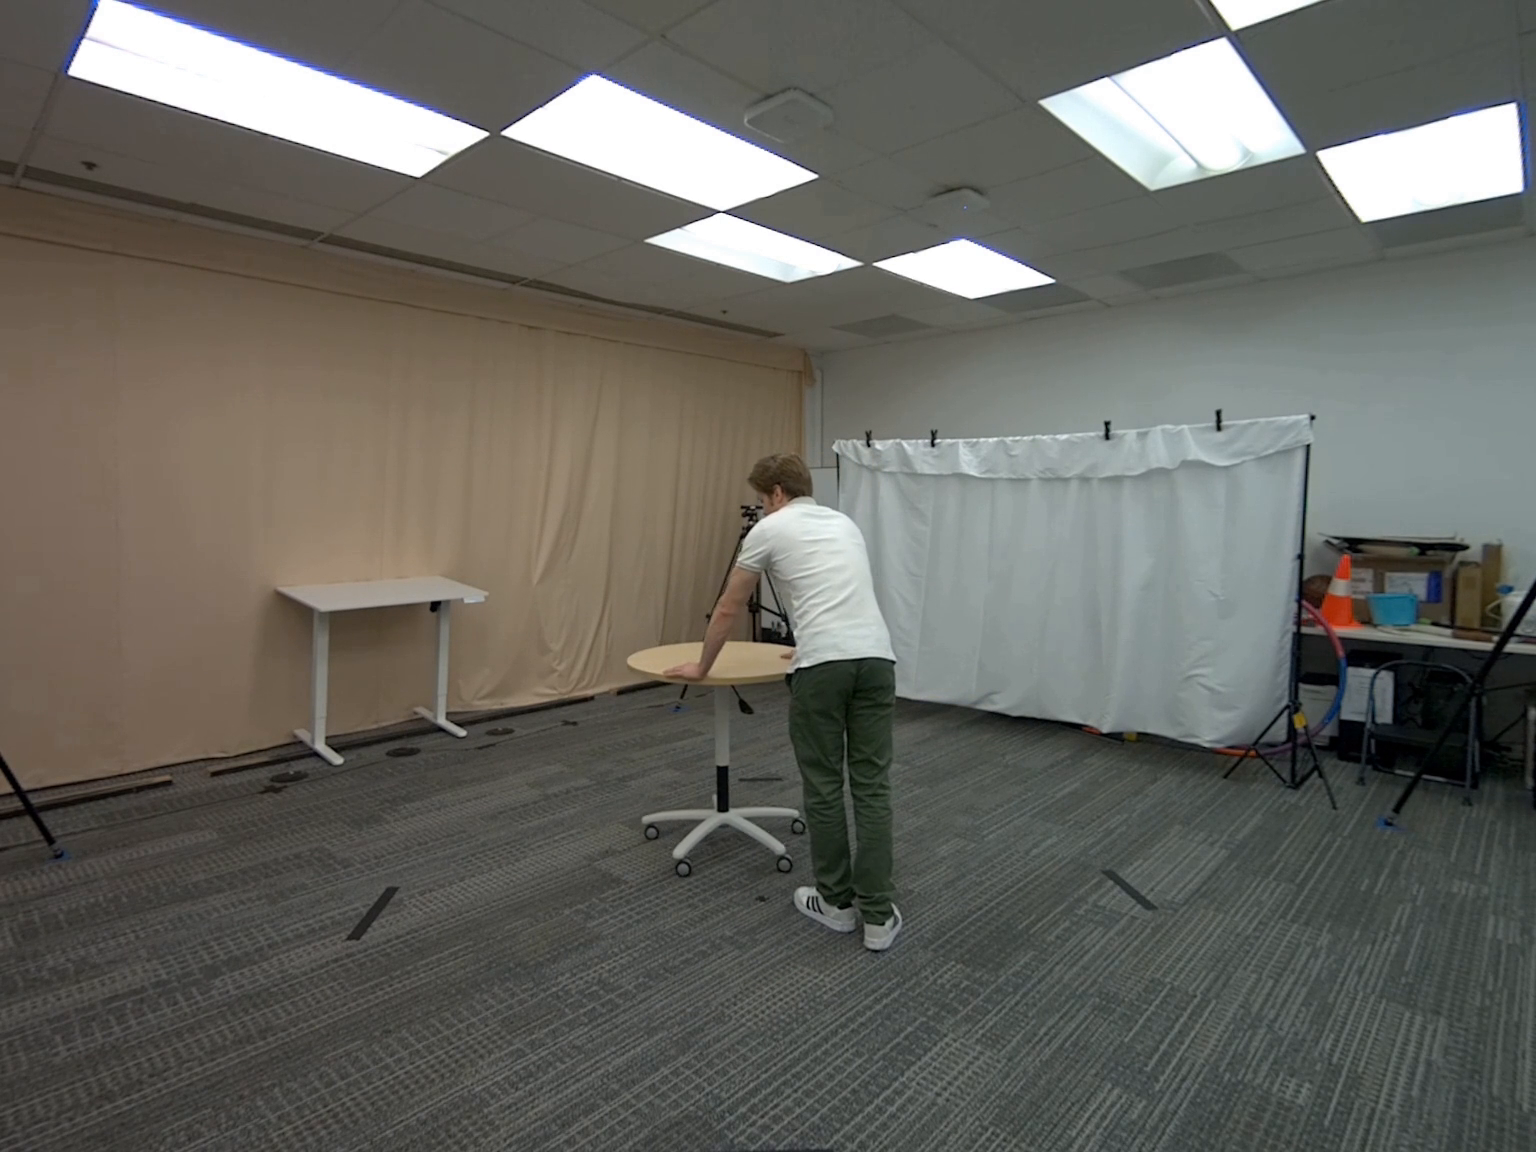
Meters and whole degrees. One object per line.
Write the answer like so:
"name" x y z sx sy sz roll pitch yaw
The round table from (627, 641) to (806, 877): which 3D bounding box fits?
"round table" -0.184 0.721 3.449 0.763 0.792 0.767 -1 4 -2
